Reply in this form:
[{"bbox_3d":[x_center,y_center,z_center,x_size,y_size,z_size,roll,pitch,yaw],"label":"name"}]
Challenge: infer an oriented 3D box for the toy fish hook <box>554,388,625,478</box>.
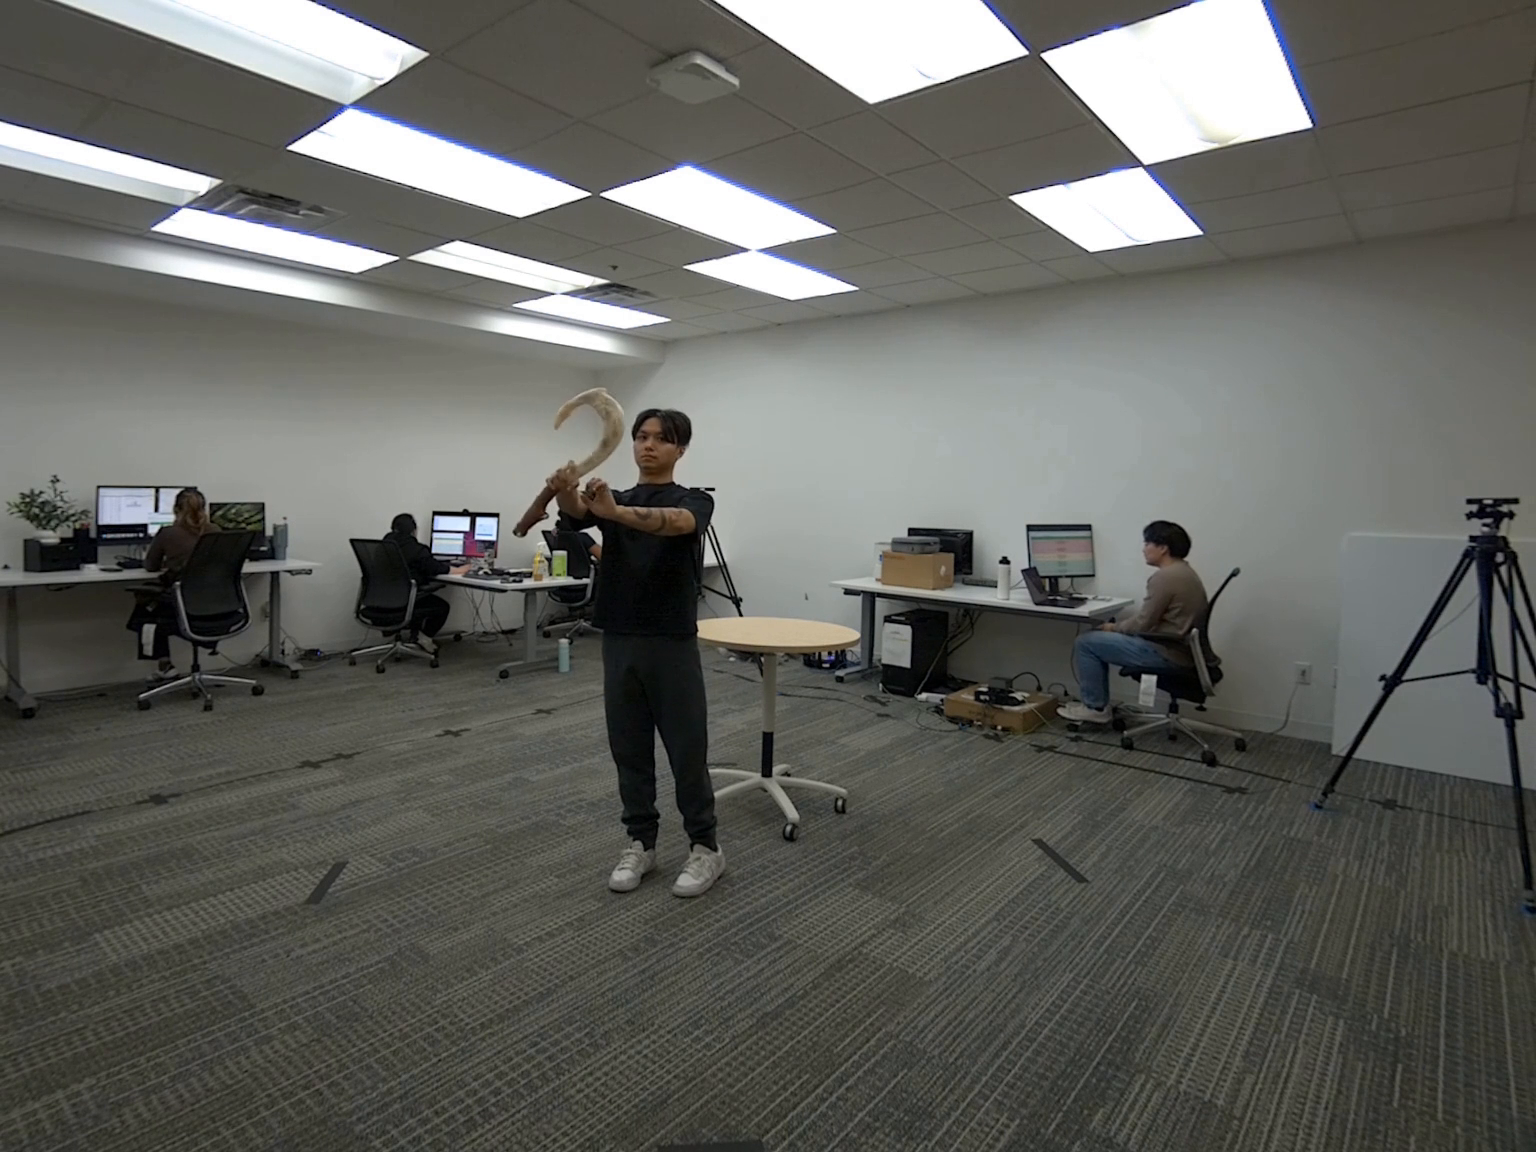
[{"bbox_3d":[-0.628,-0.337,2.506,0.231,0.507,0.047,49,11,22],"label":"toy fish hook"}]
